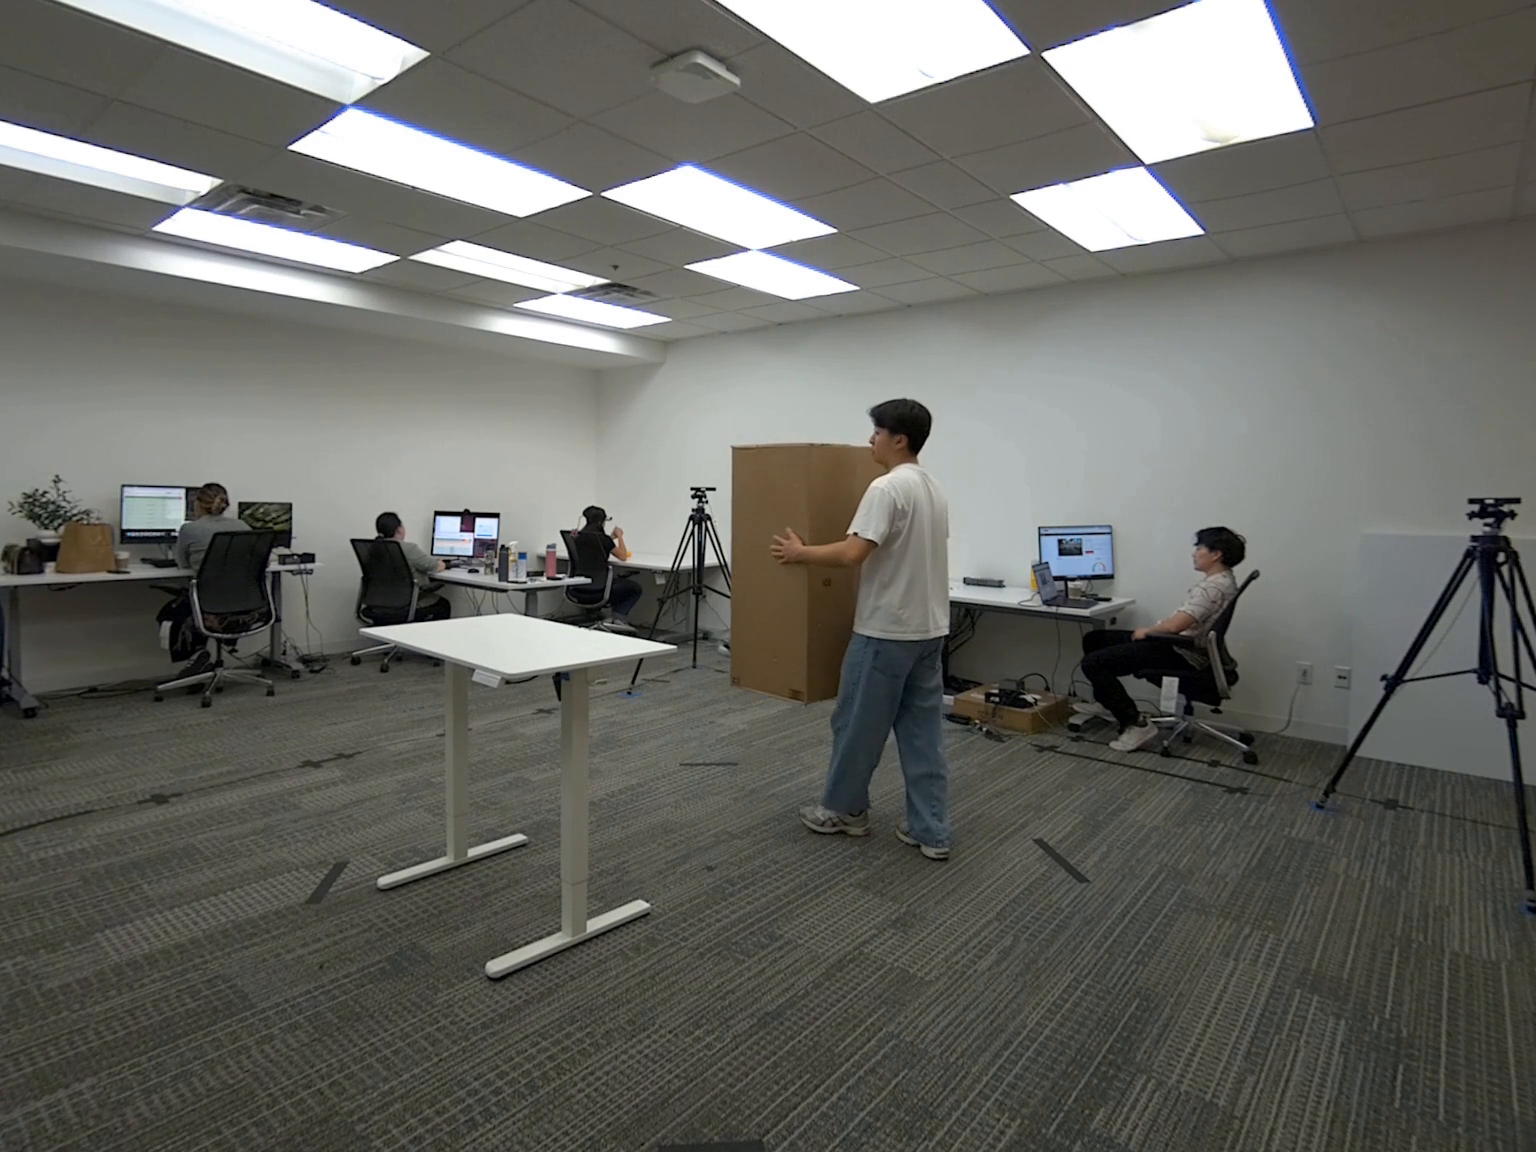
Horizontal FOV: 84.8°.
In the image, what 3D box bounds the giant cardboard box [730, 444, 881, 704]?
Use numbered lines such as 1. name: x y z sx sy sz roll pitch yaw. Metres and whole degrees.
1. giant cardboard box: 0.174 -0.043 3.629 0.441 1.021 0.560 5 6 43
